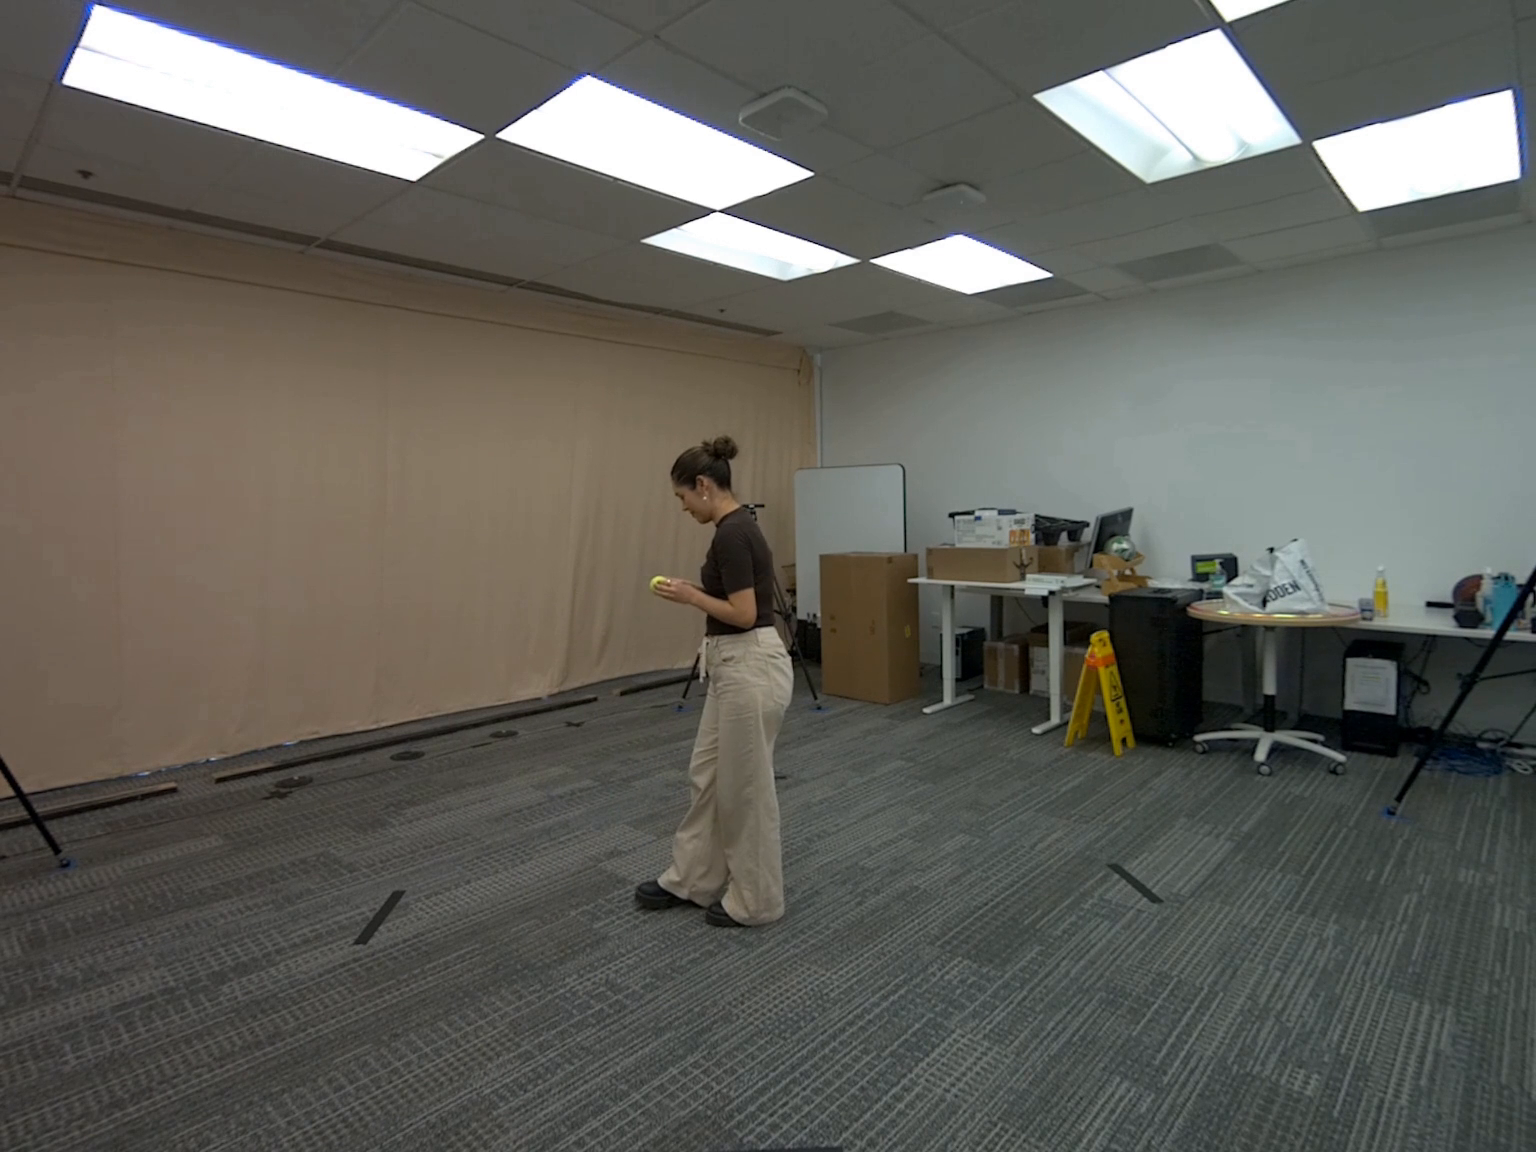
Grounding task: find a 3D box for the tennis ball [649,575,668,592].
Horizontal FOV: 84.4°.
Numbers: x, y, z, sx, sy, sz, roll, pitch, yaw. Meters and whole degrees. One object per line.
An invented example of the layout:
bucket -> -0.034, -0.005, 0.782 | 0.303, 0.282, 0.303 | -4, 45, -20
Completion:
tennis ball -> -0.361, 0.032, 2.832 | 0.066, 0.066, 0.067 | -1, 4, -2
